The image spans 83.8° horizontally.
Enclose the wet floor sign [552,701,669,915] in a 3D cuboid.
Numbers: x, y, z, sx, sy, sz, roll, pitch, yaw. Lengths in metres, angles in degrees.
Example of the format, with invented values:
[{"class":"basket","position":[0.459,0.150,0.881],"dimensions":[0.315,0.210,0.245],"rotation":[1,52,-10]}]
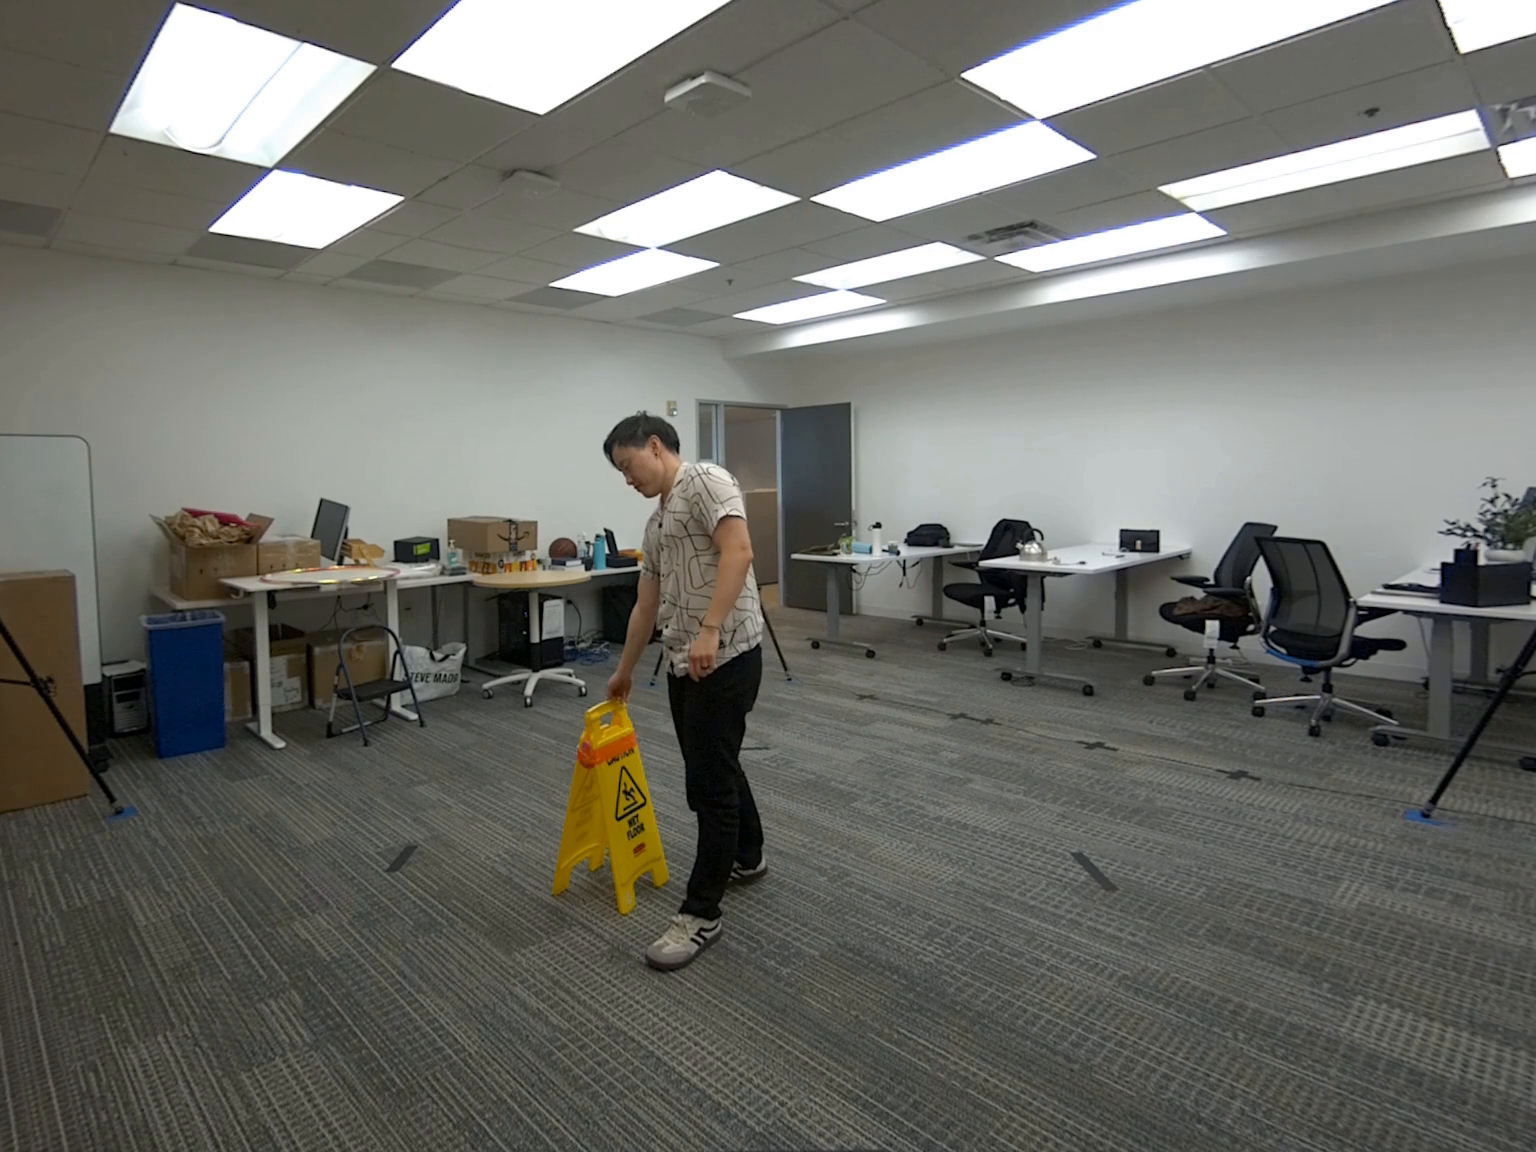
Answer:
[{"class":"wet floor sign","position":[-0.538,0.751,2.914],"dimensions":[0.297,0.643,0.277],"rotation":[2,6,28]}]
